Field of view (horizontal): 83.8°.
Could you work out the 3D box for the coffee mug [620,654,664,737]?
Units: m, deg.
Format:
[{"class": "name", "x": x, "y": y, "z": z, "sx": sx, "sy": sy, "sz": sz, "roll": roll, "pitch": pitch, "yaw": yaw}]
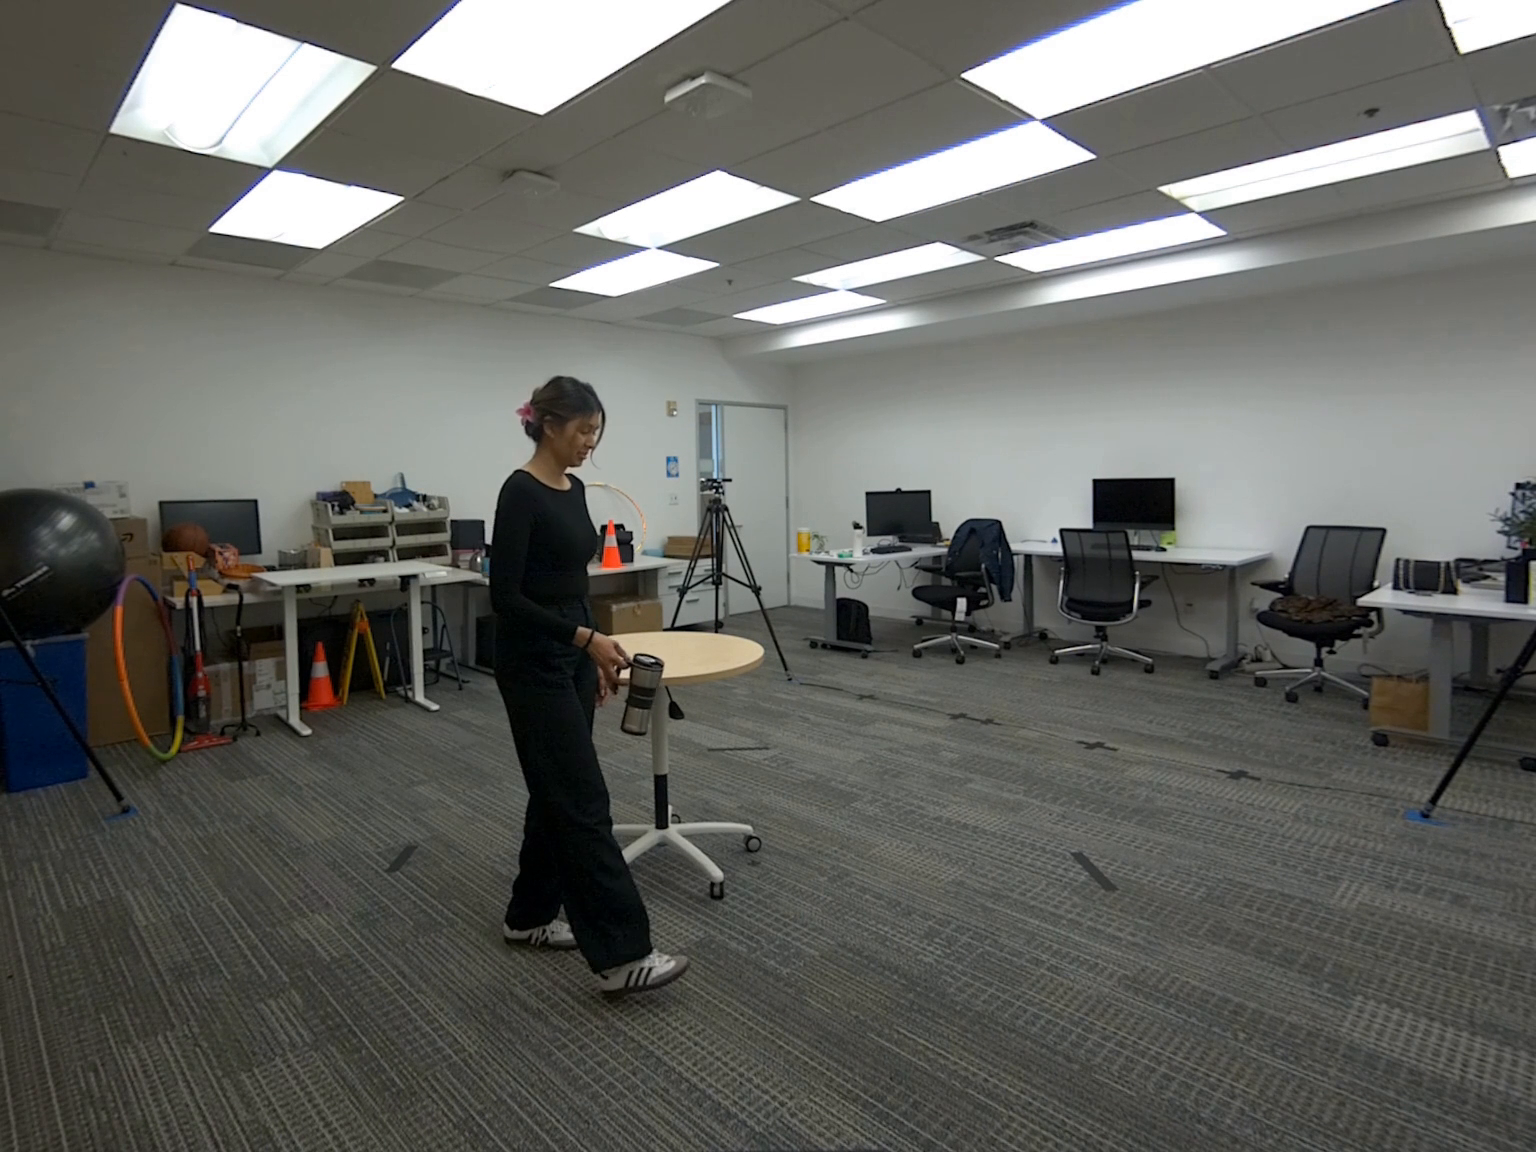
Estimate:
[{"class": "coffee mug", "x": -0.349, "y": 0.315, "z": 2.291, "sx": 0.085, "sy": 0.201, "sz": 0.126, "roll": 2, "pitch": 14, "yaw": -45}]
